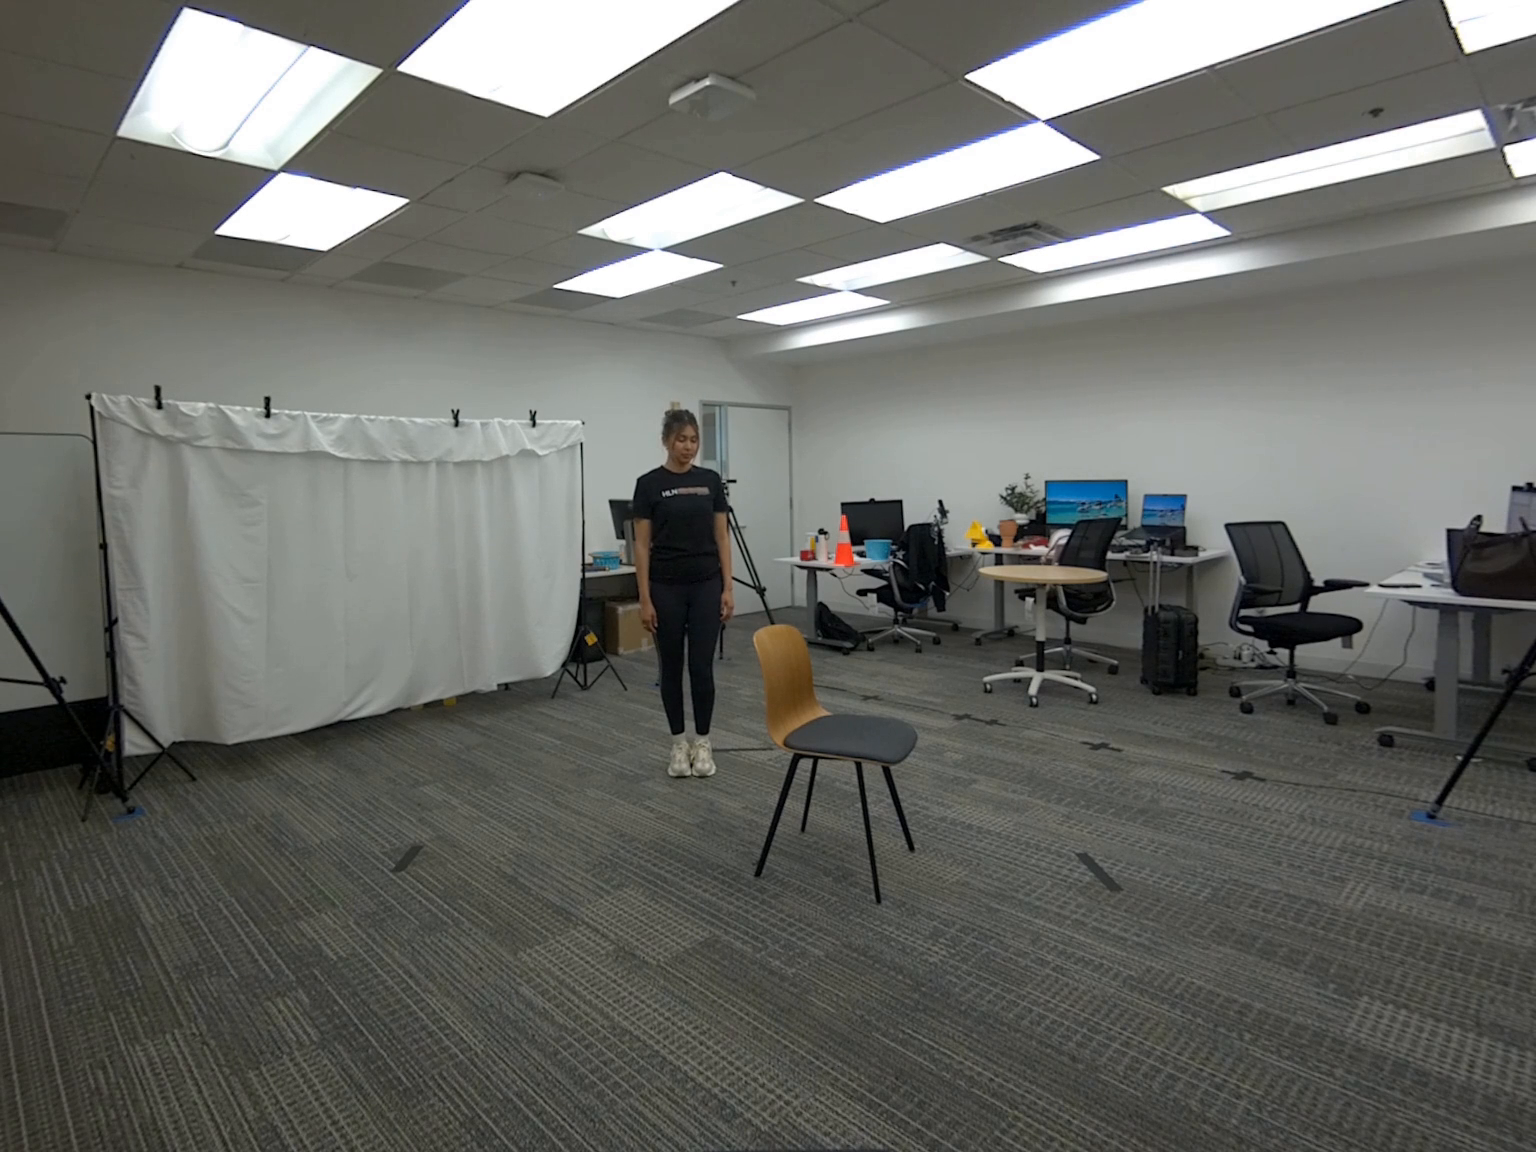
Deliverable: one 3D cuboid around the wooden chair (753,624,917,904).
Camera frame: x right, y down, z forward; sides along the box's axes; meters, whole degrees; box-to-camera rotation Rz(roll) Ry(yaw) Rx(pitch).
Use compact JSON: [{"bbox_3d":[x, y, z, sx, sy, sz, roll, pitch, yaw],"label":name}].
[{"bbox_3d":[0.253,0.618,3.067,0.535,0.876,0.468,-4,2,26],"label":"wooden chair"}]
